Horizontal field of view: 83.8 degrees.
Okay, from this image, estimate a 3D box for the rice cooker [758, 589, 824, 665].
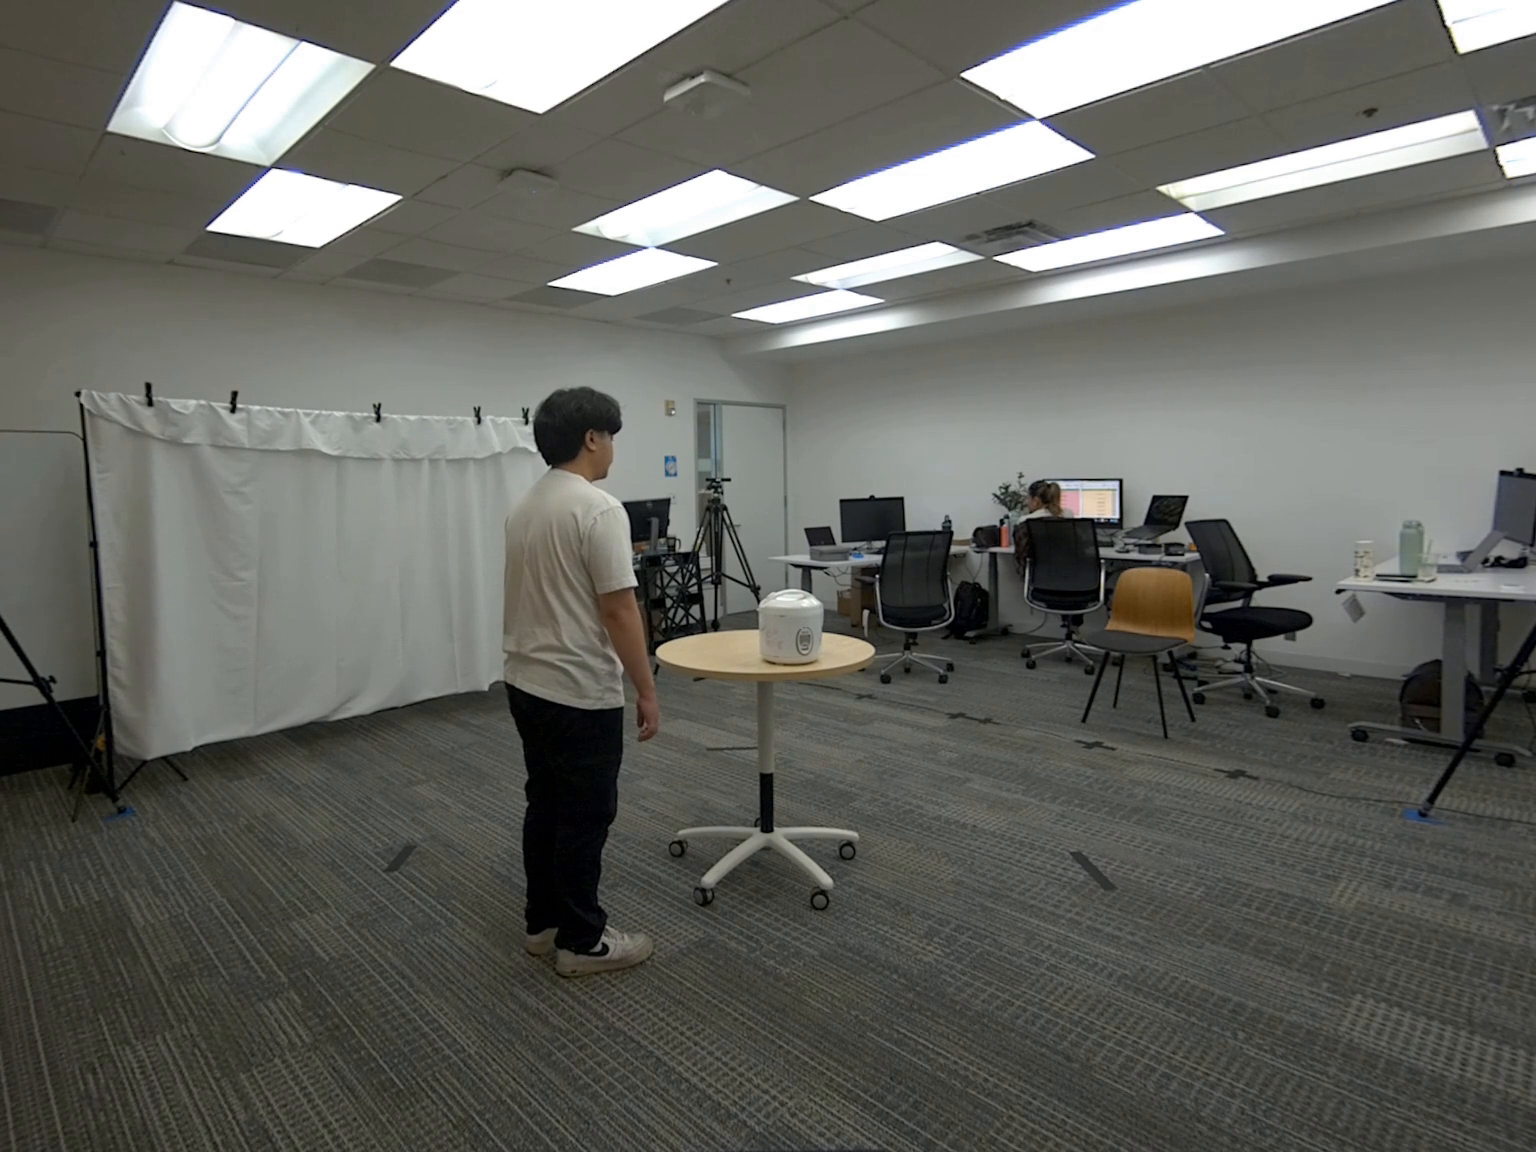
[{"bbox_3d":[0.080,0.161,2.803,0.217,0.232,0.222,-3,4,-21],"label":"rice cooker"}]
